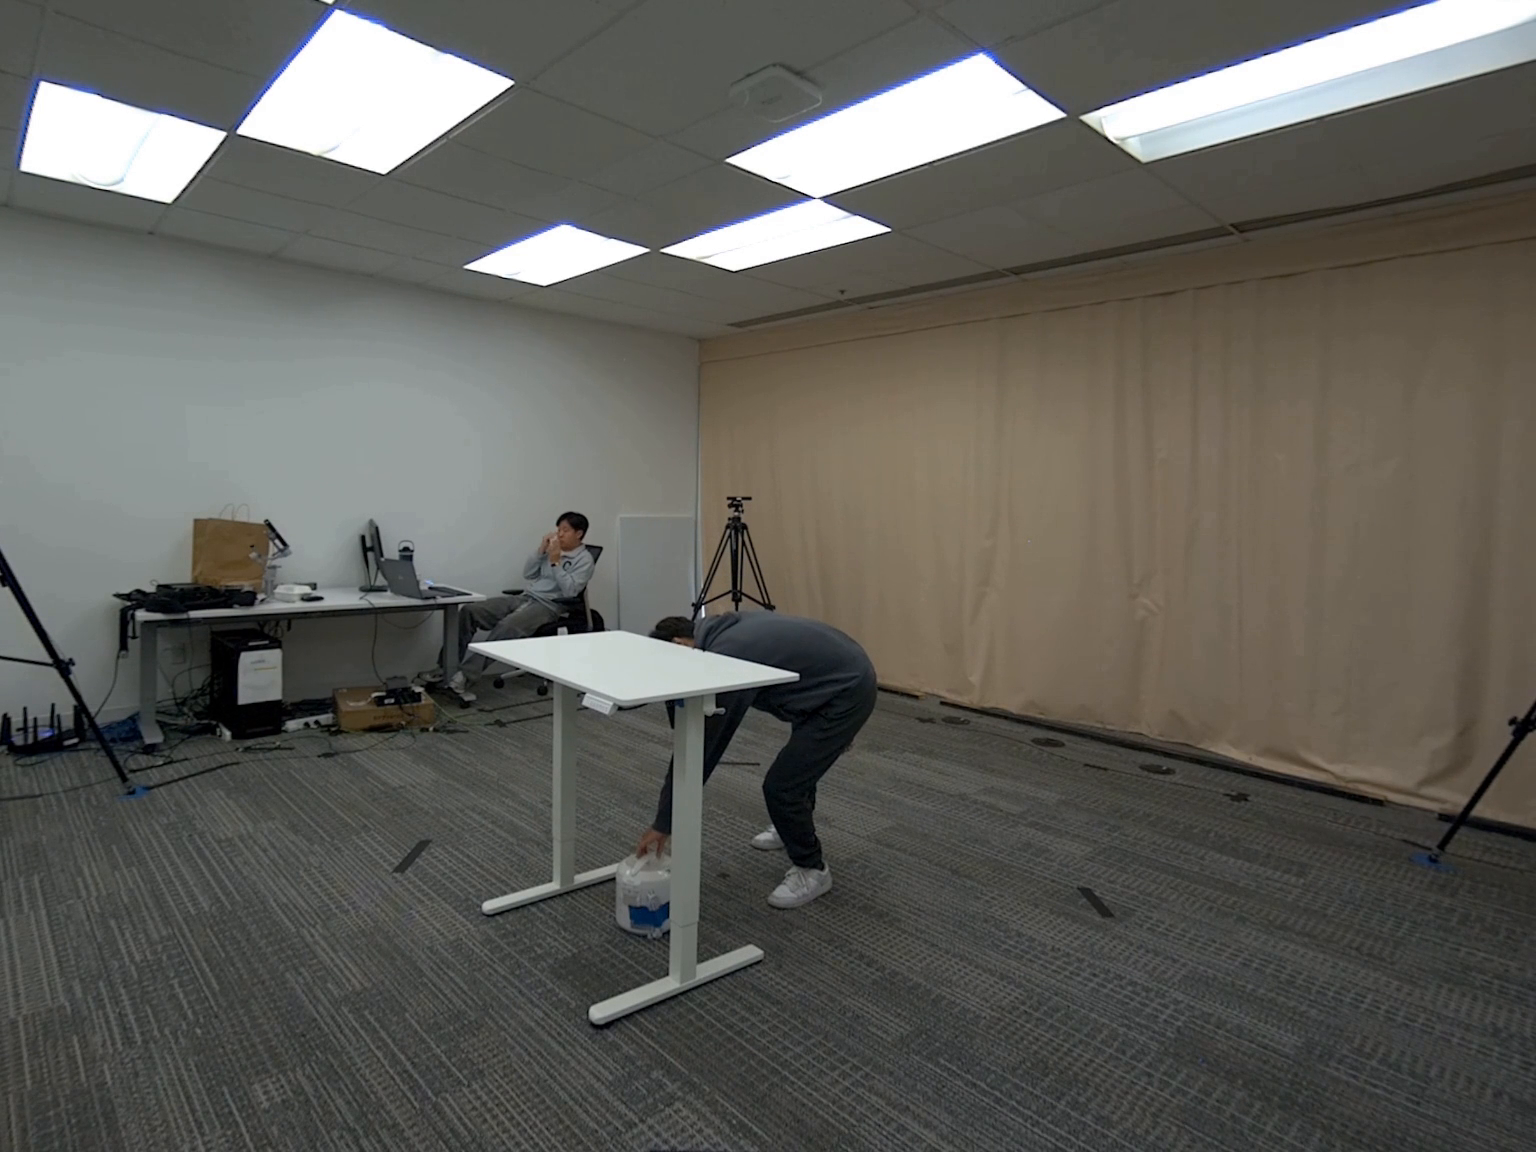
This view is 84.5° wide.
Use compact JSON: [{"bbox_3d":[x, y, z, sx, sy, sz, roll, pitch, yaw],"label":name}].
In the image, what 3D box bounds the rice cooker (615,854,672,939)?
[{"bbox_3d":[-0.394,1.017,2.734,0.222,0.232,0.216,4,5,28],"label":"rice cooker"}]
